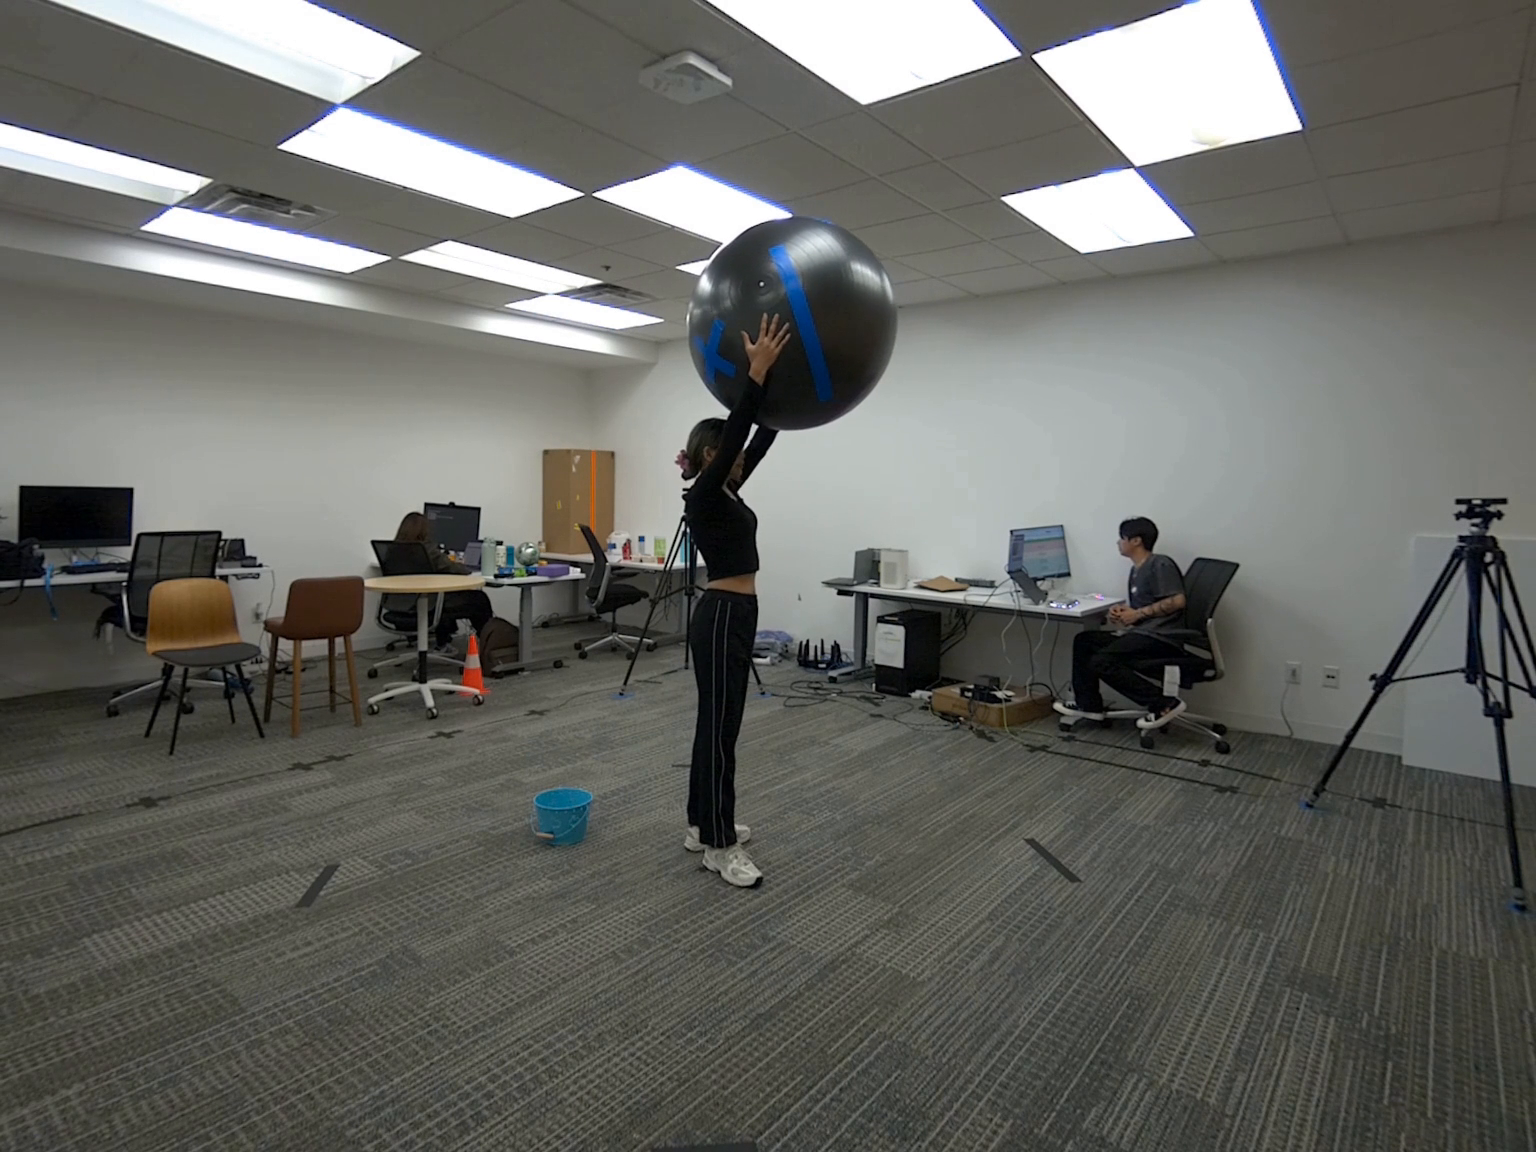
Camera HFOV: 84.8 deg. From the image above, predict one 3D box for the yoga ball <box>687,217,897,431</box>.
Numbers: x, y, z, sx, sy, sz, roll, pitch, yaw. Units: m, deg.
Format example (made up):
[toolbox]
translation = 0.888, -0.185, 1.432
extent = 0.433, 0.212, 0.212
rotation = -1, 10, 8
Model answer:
[yoga ball]
translation = 0.075, -0.915, 3.101
extent = 0.757, 0.755, 0.762
rotation = 1, 4, -2
